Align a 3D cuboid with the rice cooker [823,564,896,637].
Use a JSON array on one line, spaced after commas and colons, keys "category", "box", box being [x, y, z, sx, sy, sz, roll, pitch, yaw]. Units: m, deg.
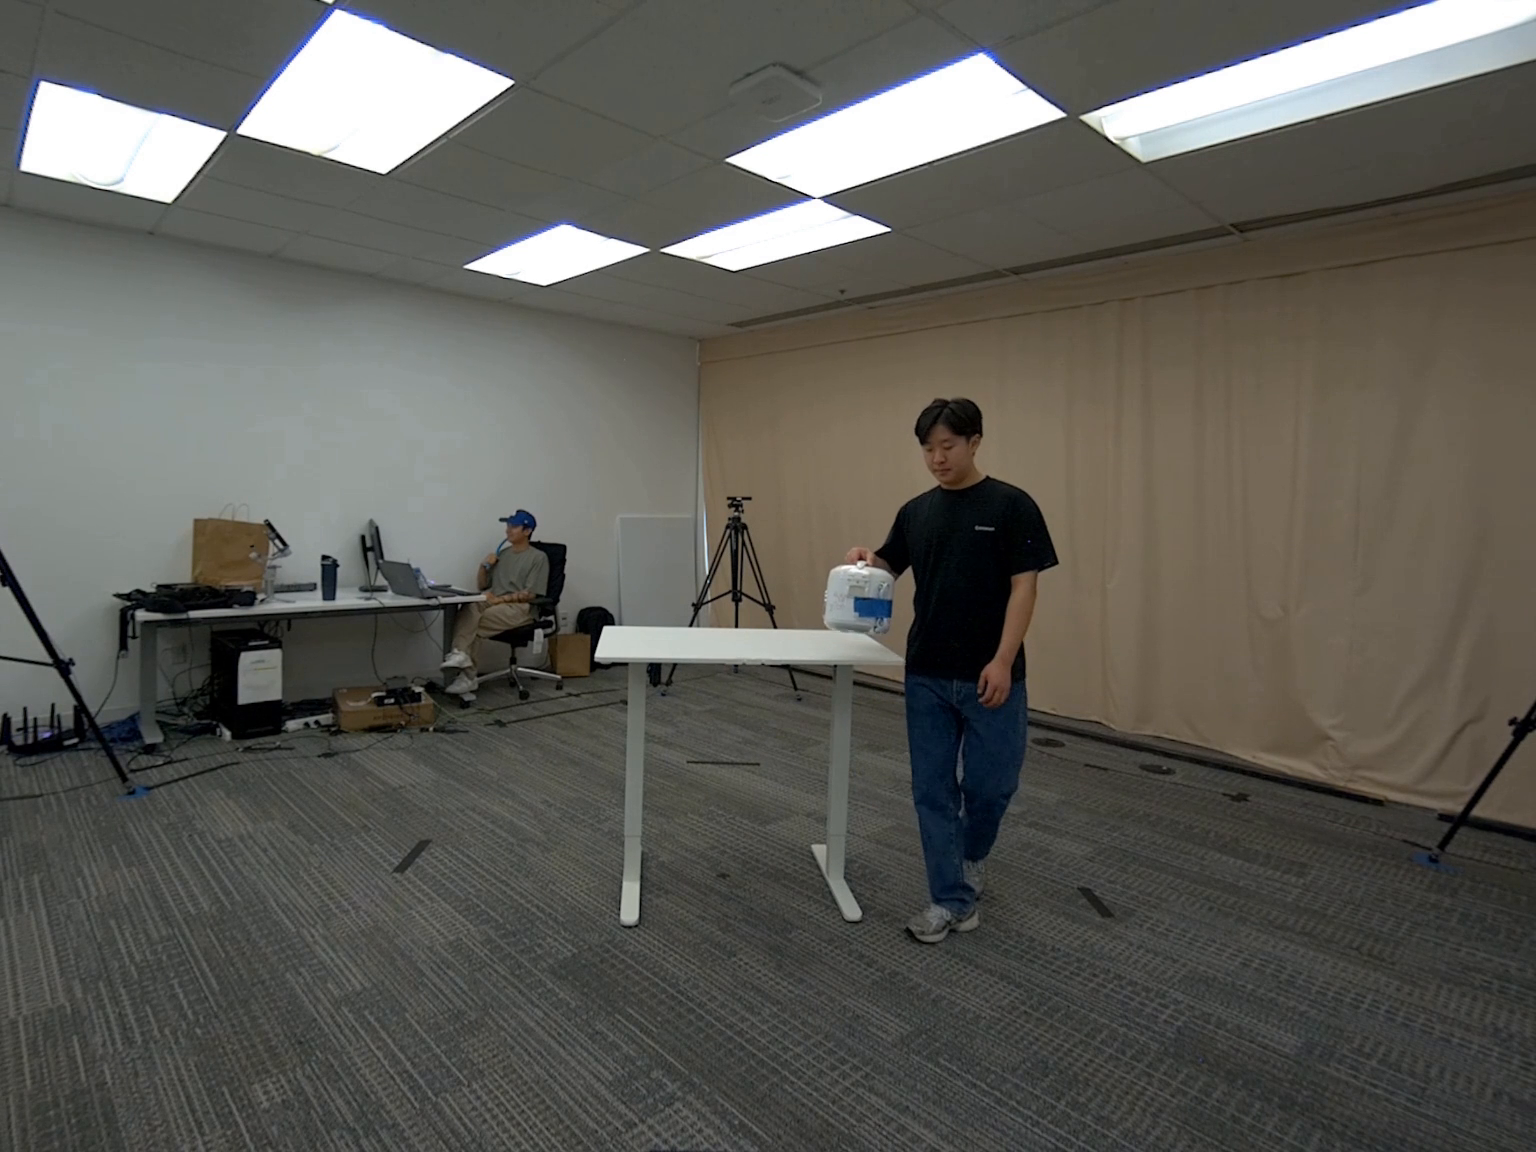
[{"category": "rice cooker", "box": [0.290, 0.073, 2.713, 0.220, 0.234, 0.217, 7, -6, 13]}]
